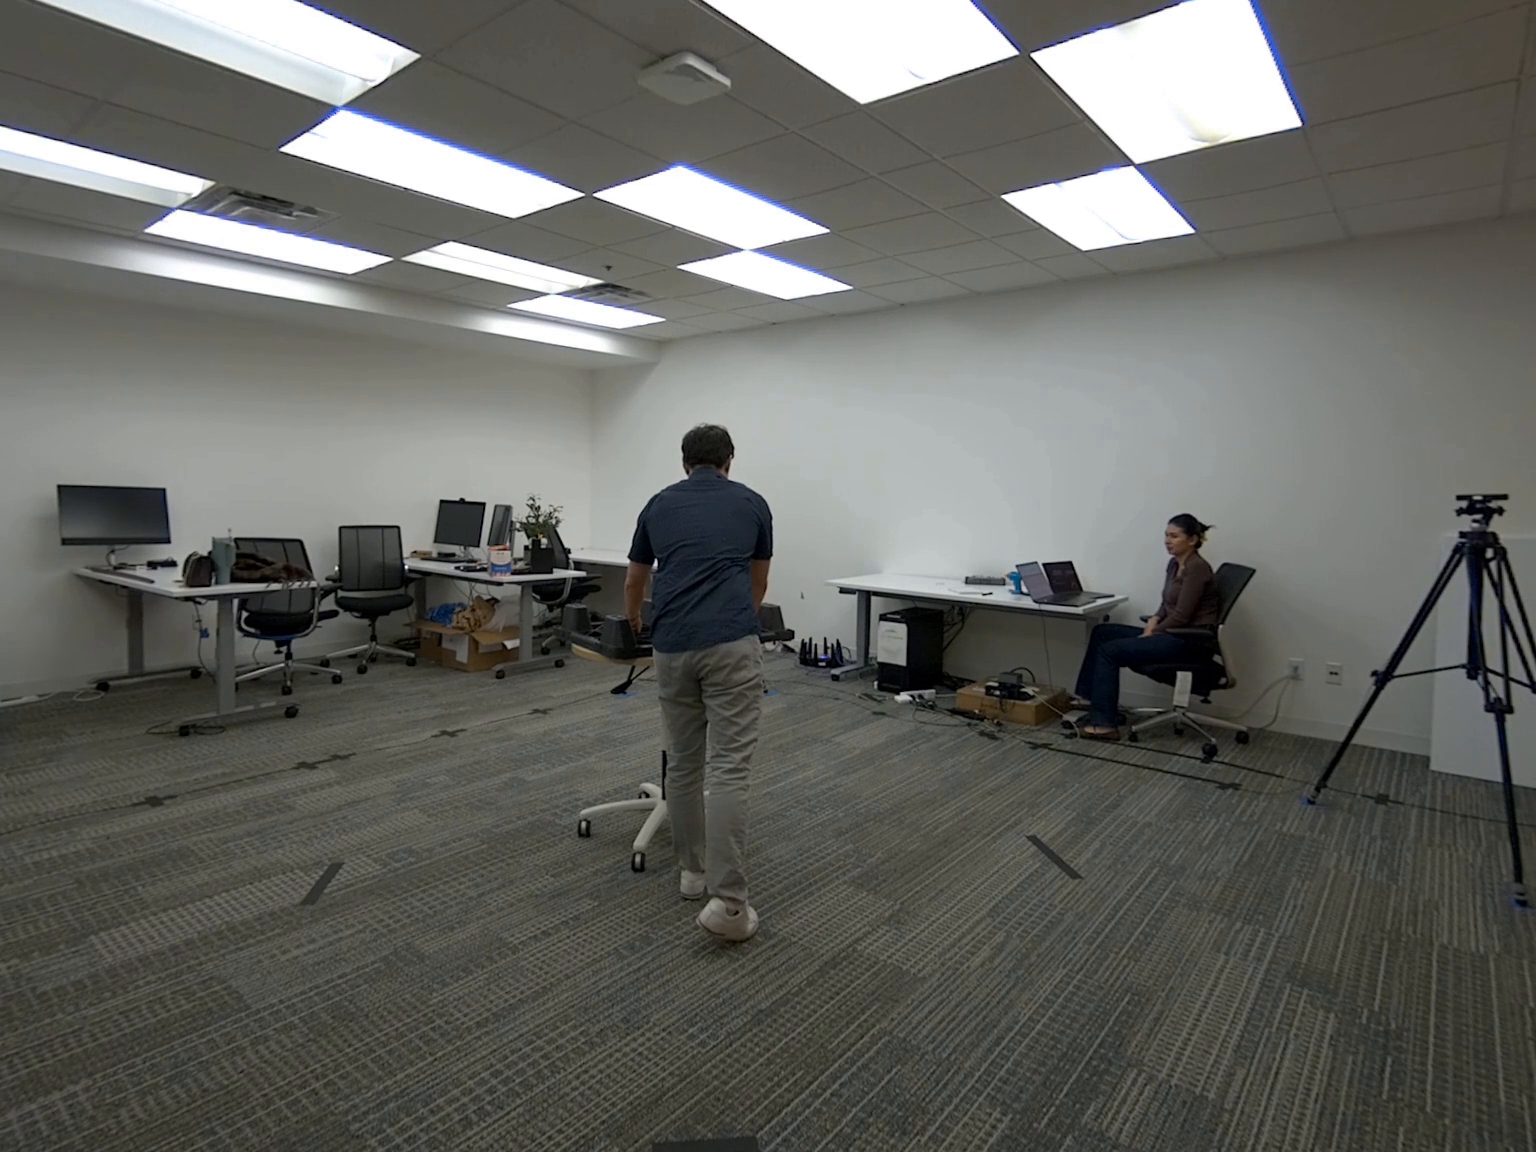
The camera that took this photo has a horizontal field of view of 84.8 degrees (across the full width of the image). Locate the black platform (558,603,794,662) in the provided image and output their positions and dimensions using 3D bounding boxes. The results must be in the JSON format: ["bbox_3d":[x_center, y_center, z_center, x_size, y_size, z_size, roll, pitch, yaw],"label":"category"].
[{"bbox_3d":[-0.394,0.183,3.441,0.783,0.143,0.625,-3,7,-34],"label":"black platform"}]
